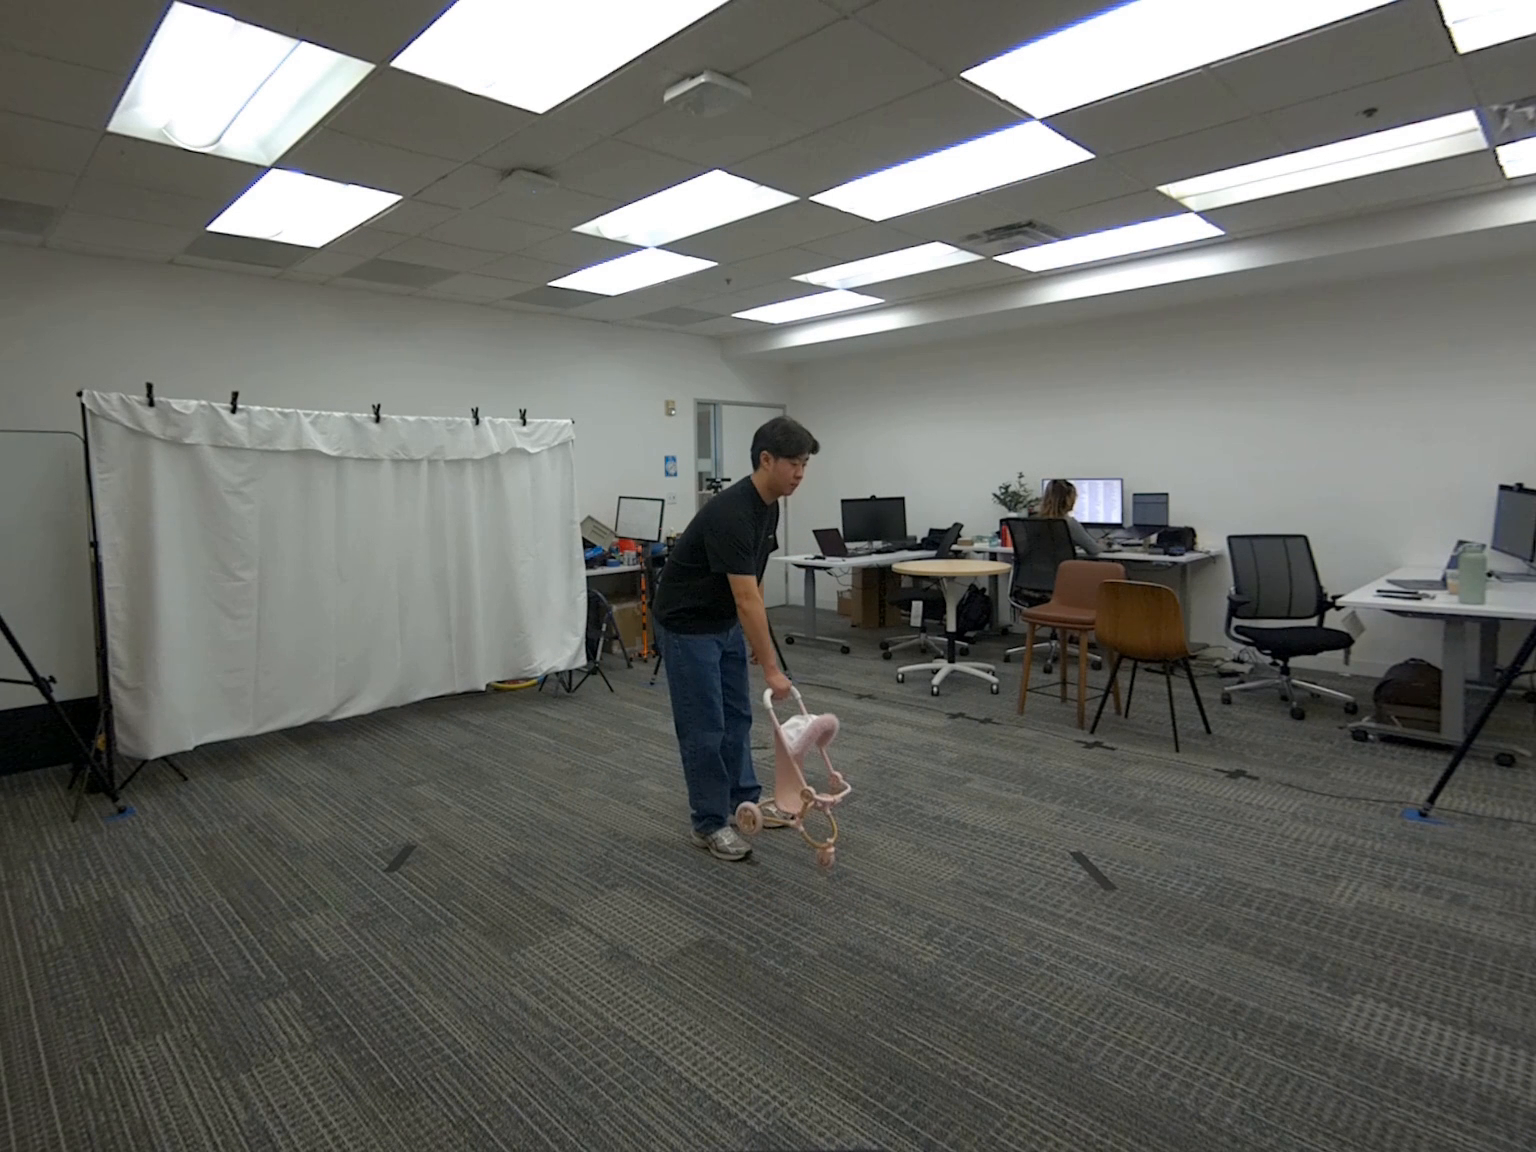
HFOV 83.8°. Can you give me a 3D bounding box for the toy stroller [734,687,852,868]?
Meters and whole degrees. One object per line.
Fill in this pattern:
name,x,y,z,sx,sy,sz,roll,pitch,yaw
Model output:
toy stroller,0.124,0.675,2.864,0.353,0.532,0.273,14,8,37
